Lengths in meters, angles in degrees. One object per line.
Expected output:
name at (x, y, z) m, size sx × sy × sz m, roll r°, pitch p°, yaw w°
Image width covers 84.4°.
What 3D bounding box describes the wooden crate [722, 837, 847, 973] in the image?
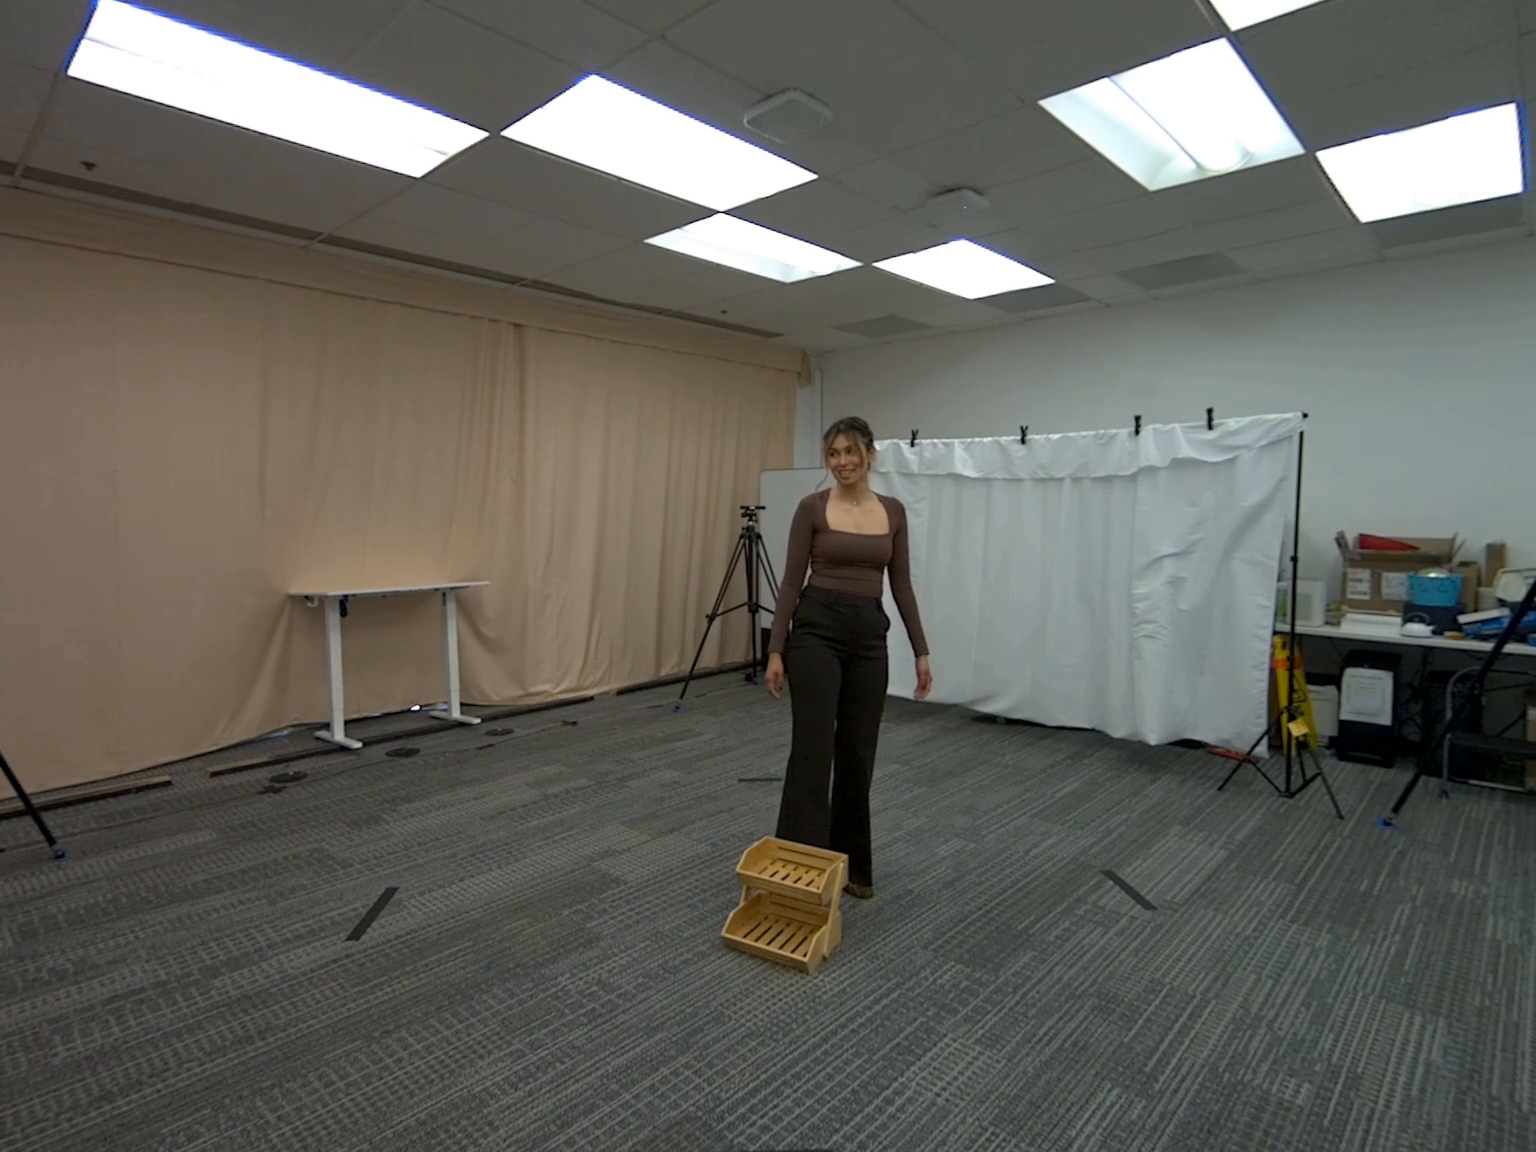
wooden crate at (0.057, 1.034, 2.685) m, size 0.334 × 0.273 × 0.294 m, roll 2°, pitch 4°, yaw 29°
